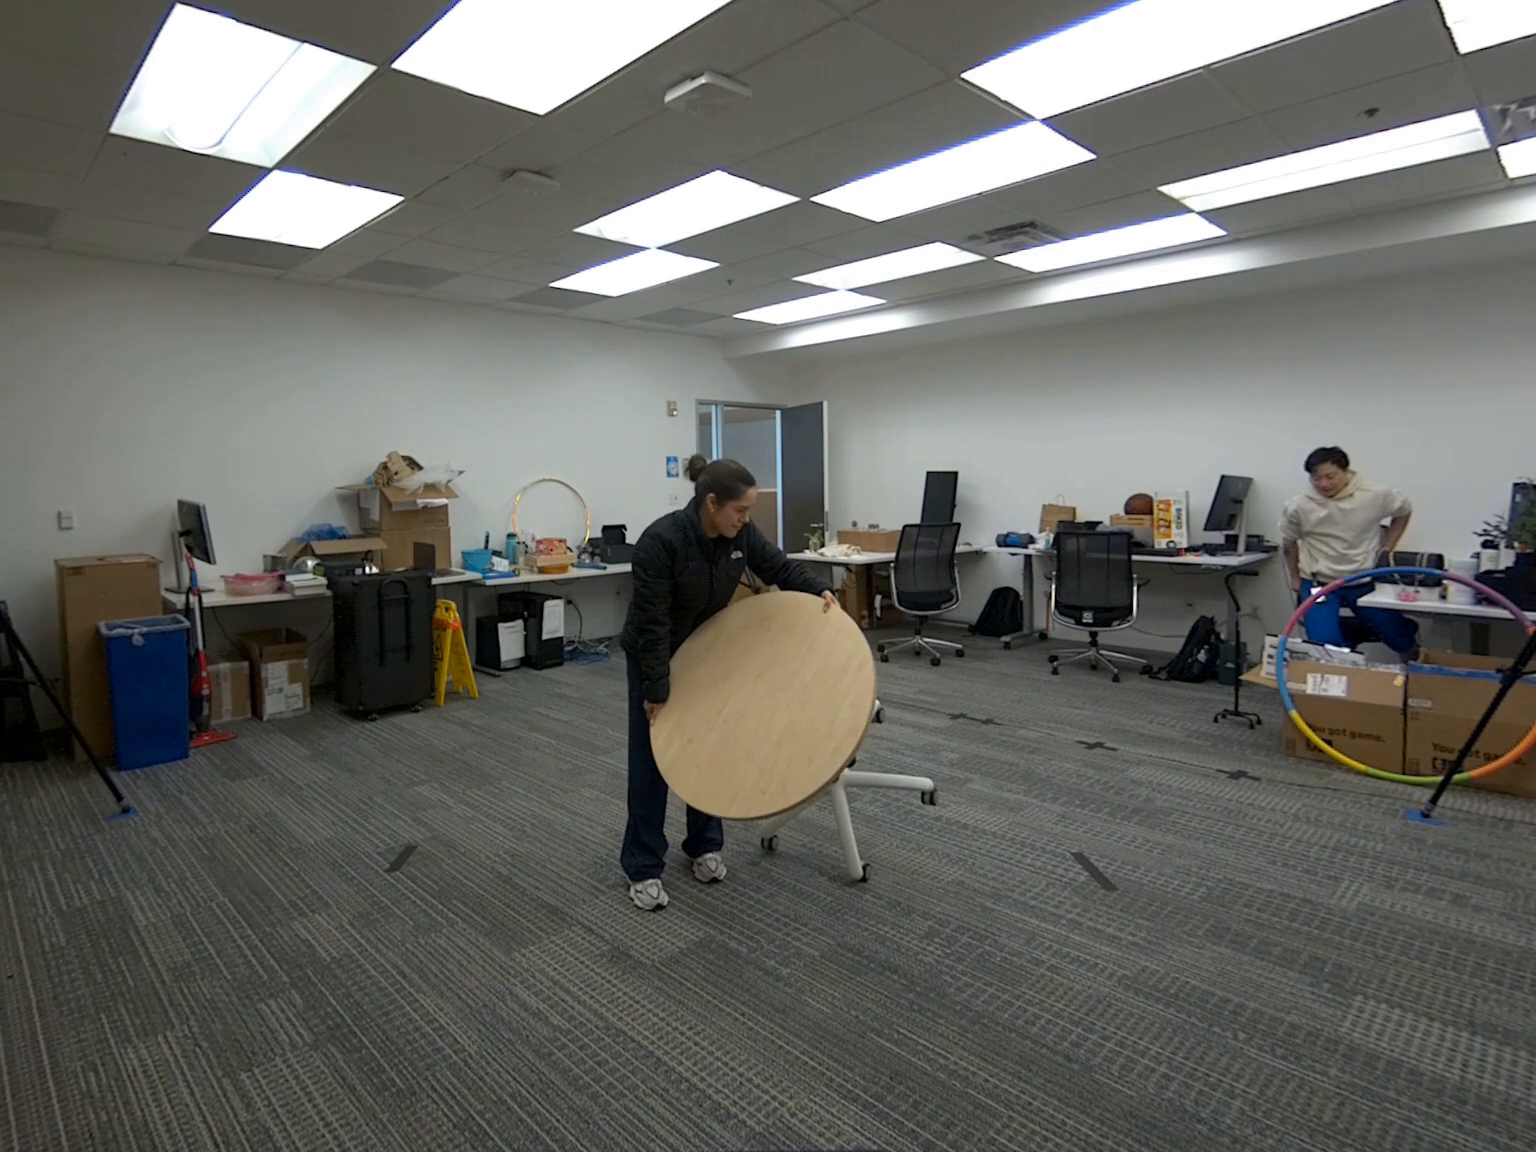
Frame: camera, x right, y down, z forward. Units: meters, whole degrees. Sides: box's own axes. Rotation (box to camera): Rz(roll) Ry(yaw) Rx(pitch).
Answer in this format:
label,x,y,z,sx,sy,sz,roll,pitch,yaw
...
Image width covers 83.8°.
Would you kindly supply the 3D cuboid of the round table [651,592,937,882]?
label,x,y,z,sx,sy,sz,roll,pitch,yaw
round table,0.140,0.582,2.939,0.807,0.794,0.756,2,-33,33
